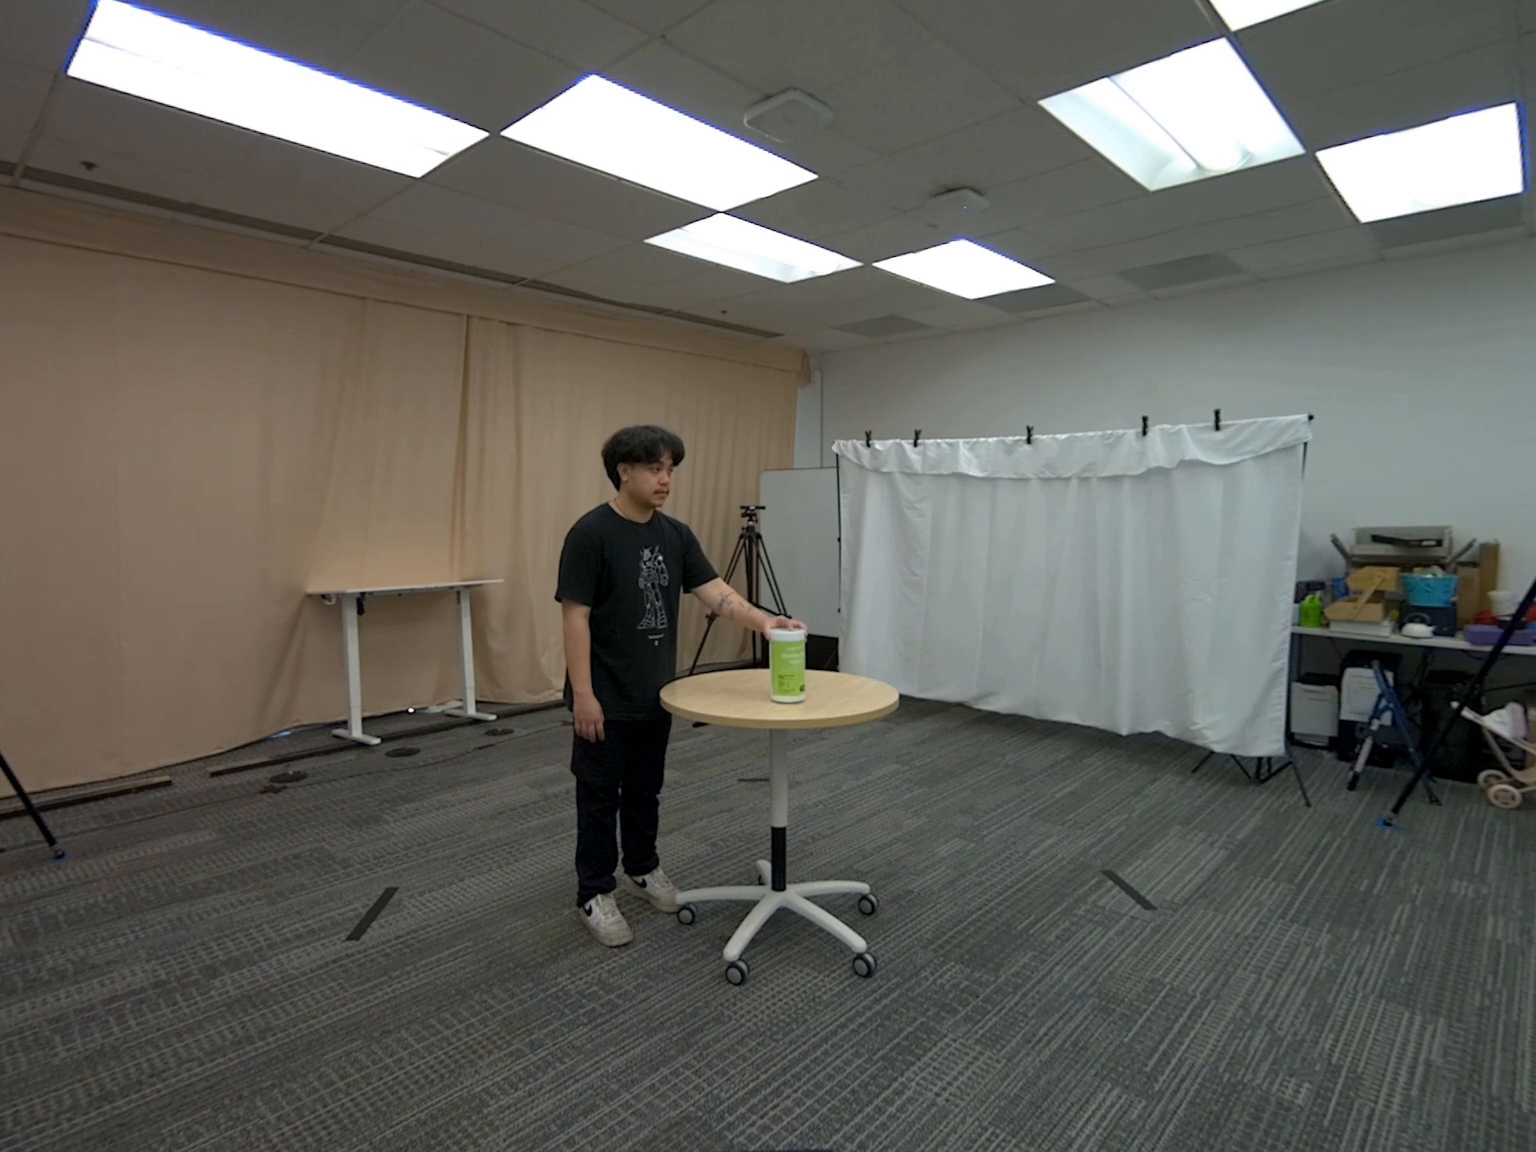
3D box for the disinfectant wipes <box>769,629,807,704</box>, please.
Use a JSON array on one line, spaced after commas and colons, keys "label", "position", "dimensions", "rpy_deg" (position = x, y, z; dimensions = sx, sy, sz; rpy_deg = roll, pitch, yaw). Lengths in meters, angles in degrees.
[{"label": "disinfectant wipes", "position": [0.061, 0.267, 2.572], "dimensions": [0.118, 0.217, 0.118], "rpy_deg": [-1, 3, -2]}]
